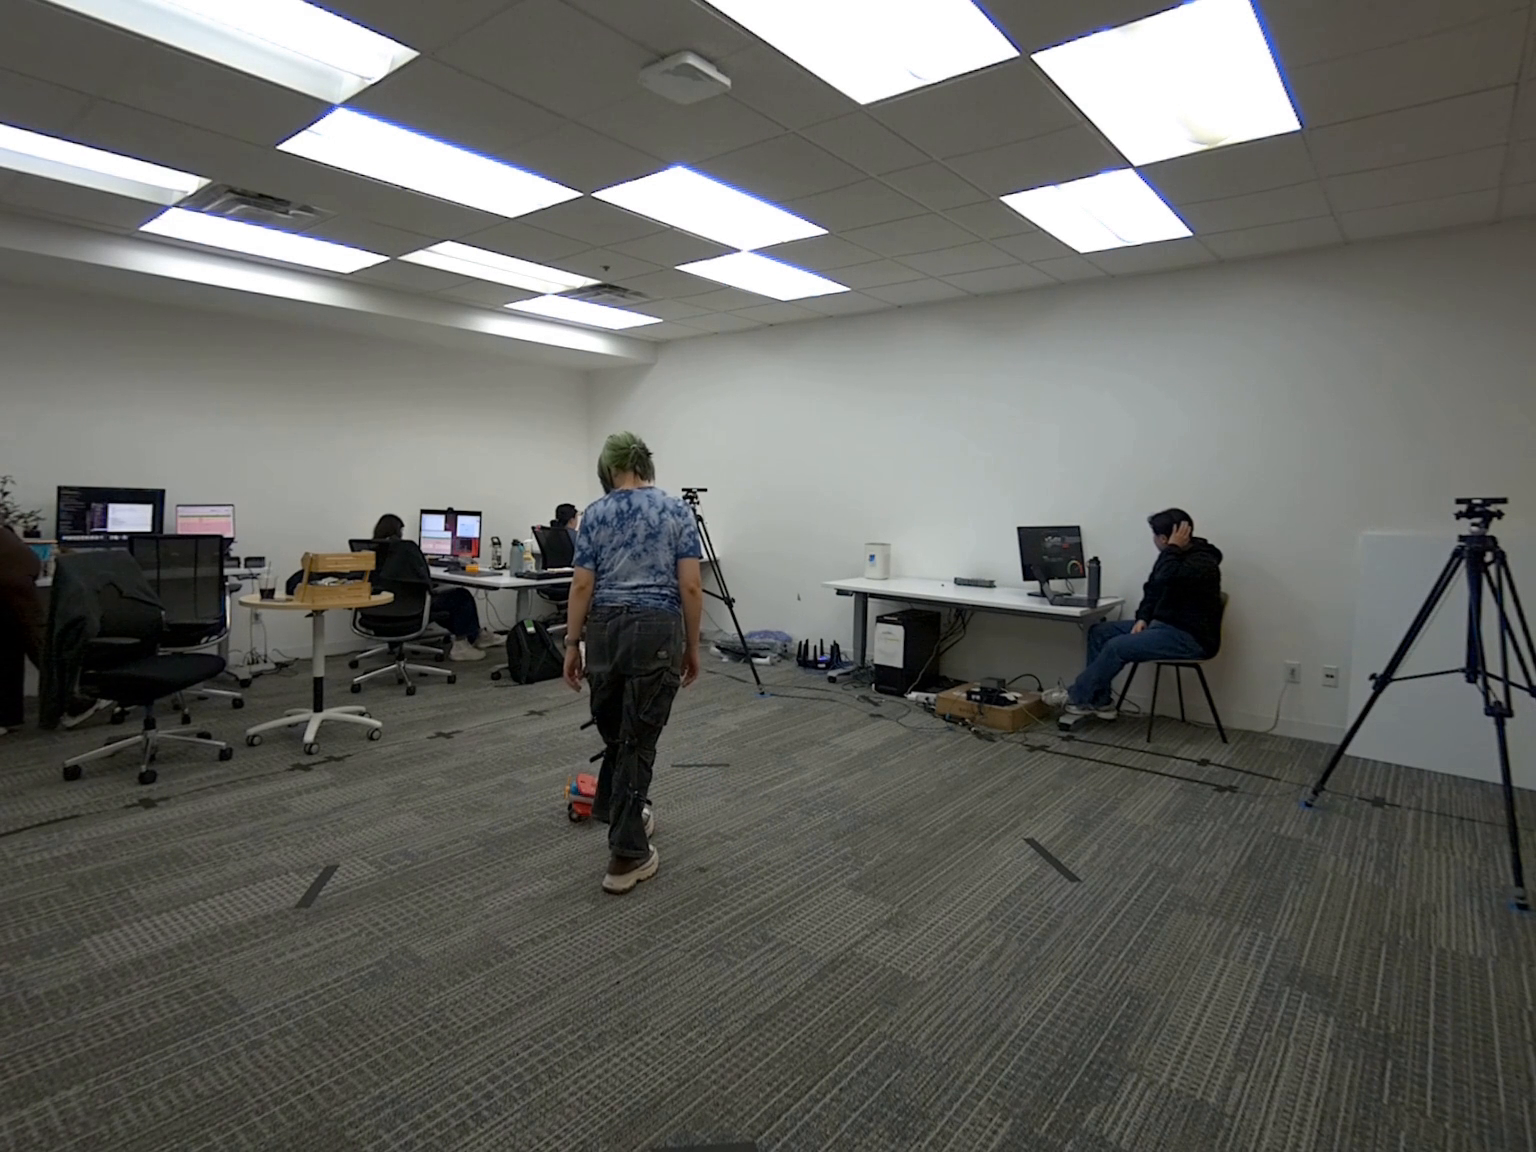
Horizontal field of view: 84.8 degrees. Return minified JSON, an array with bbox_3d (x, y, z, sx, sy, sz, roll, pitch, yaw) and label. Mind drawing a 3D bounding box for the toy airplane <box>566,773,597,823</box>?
[{"bbox_3d":[-0.751,0.938,3.614,0.252,0.156,0.259,-5,6,-40],"label":"toy airplane"}]
